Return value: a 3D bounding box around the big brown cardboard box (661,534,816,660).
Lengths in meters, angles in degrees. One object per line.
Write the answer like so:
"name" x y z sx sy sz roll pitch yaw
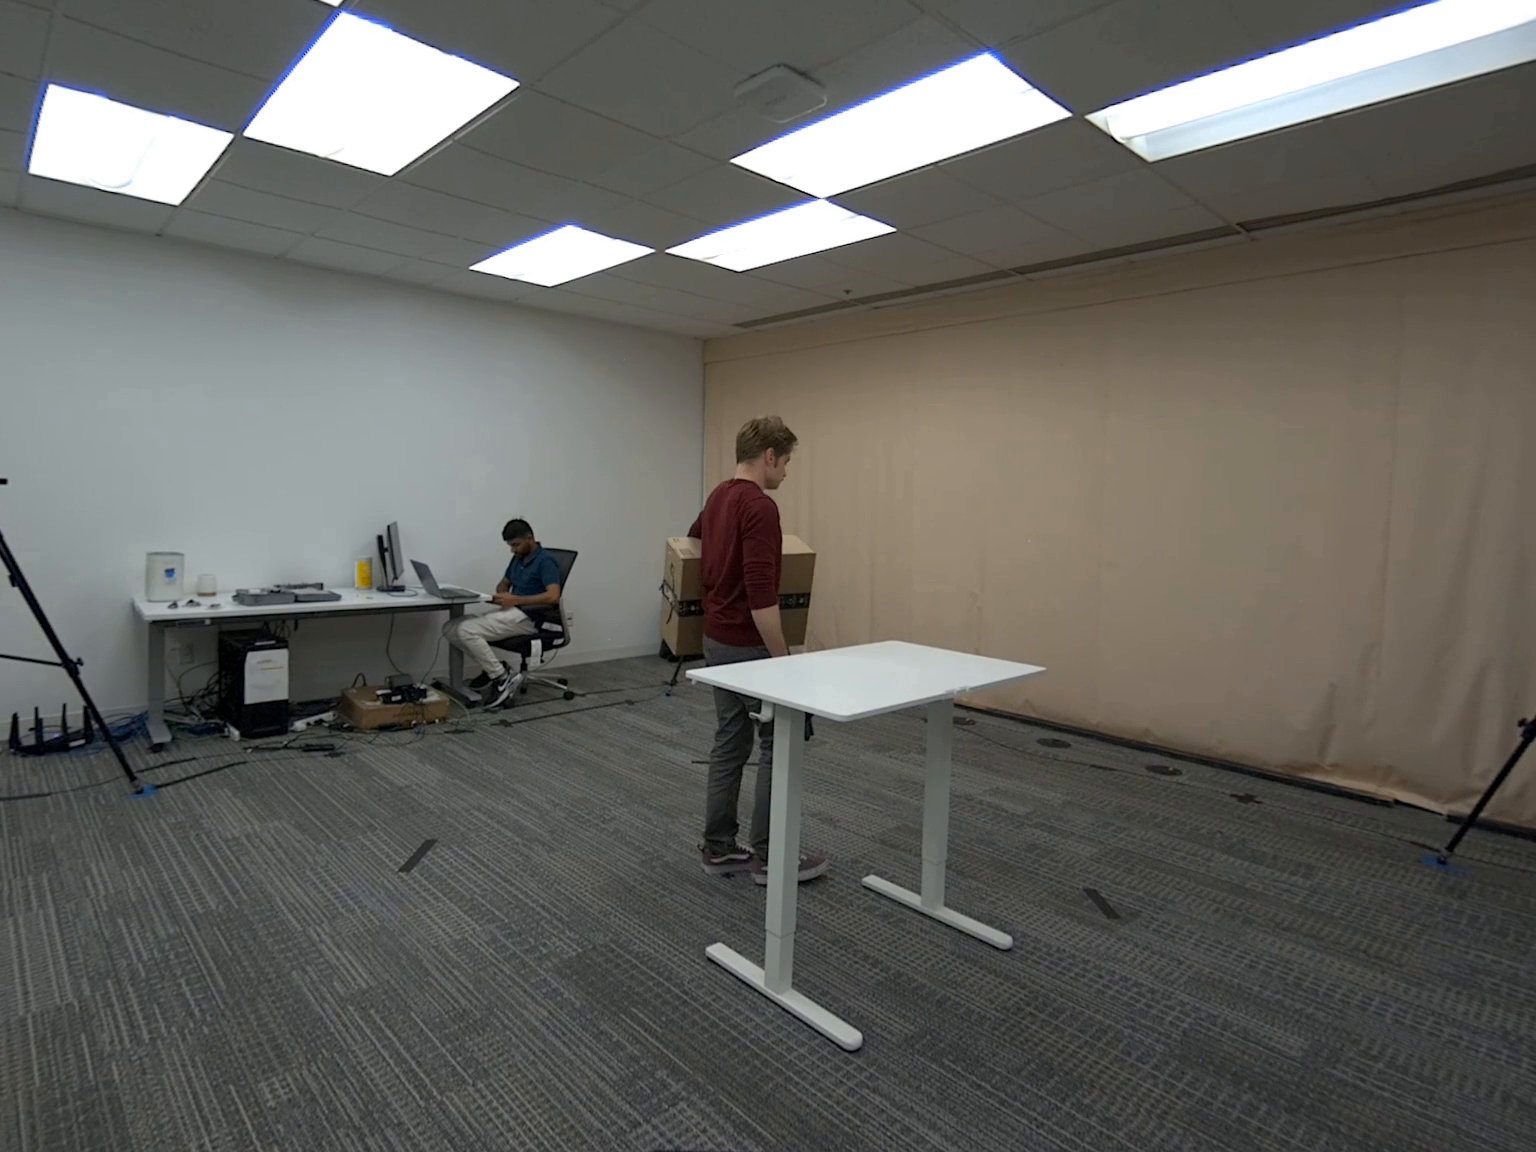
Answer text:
"big brown cardboard box" -0.133 0.072 3.402 0.580 0.412 0.239 -2 22 -21
